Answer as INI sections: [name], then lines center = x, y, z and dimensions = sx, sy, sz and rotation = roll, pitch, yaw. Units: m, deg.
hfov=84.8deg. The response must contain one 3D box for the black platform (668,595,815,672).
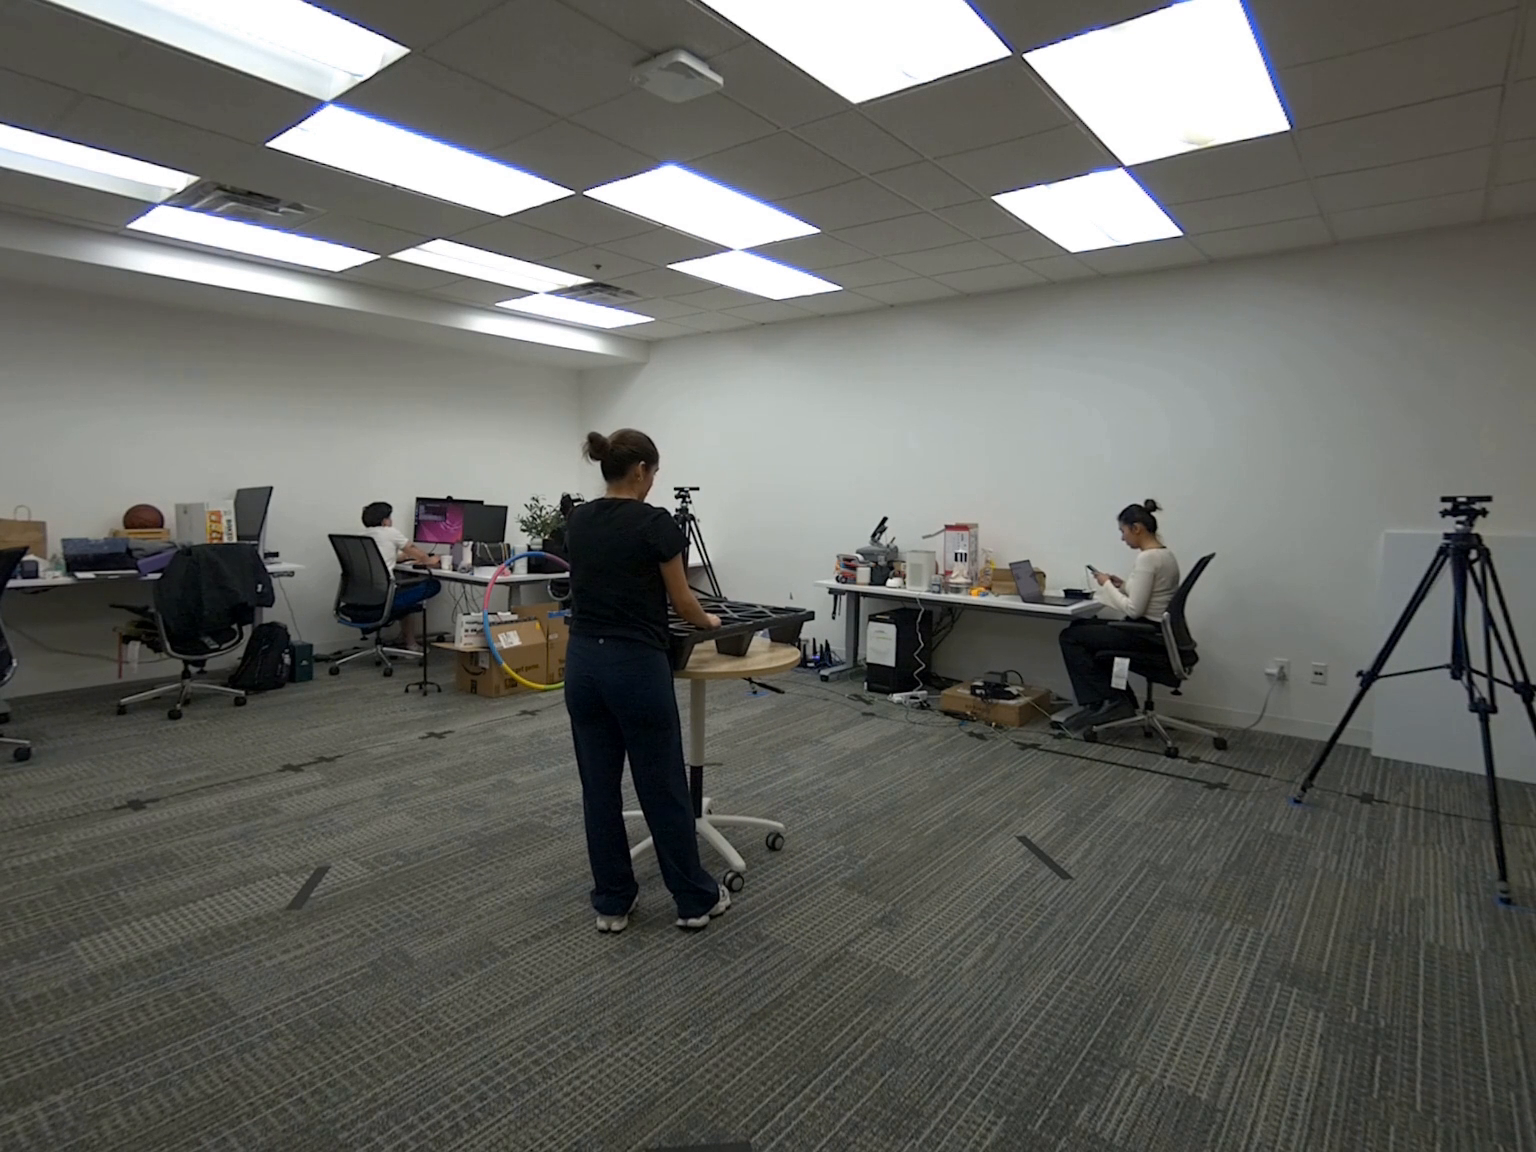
[black platform]
center = -0.274, 0.204, 3.255
dimensions = 0.625, 0.143, 0.782
rotation = 5, 7, 38
